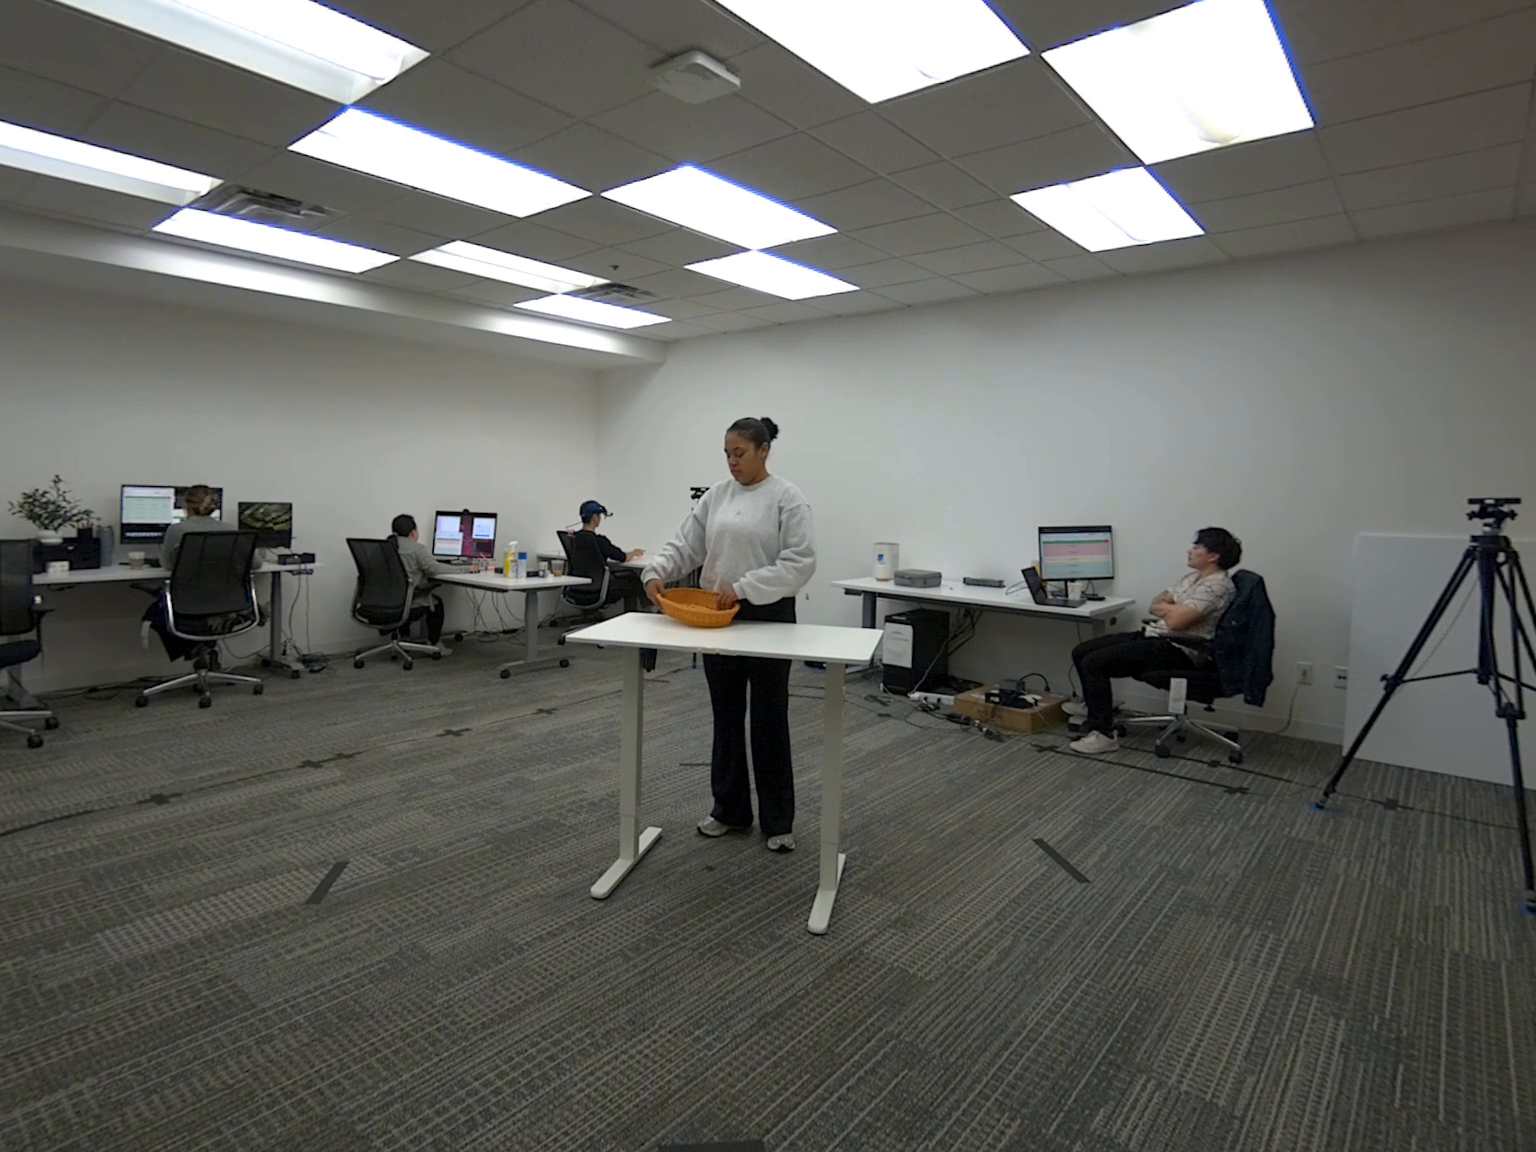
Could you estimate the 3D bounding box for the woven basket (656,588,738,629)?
[{"bbox_3d":[-0.273,0.124,3.189,0.245,0.073,0.363,-3,12,-35],"label":"woven basket"}]
